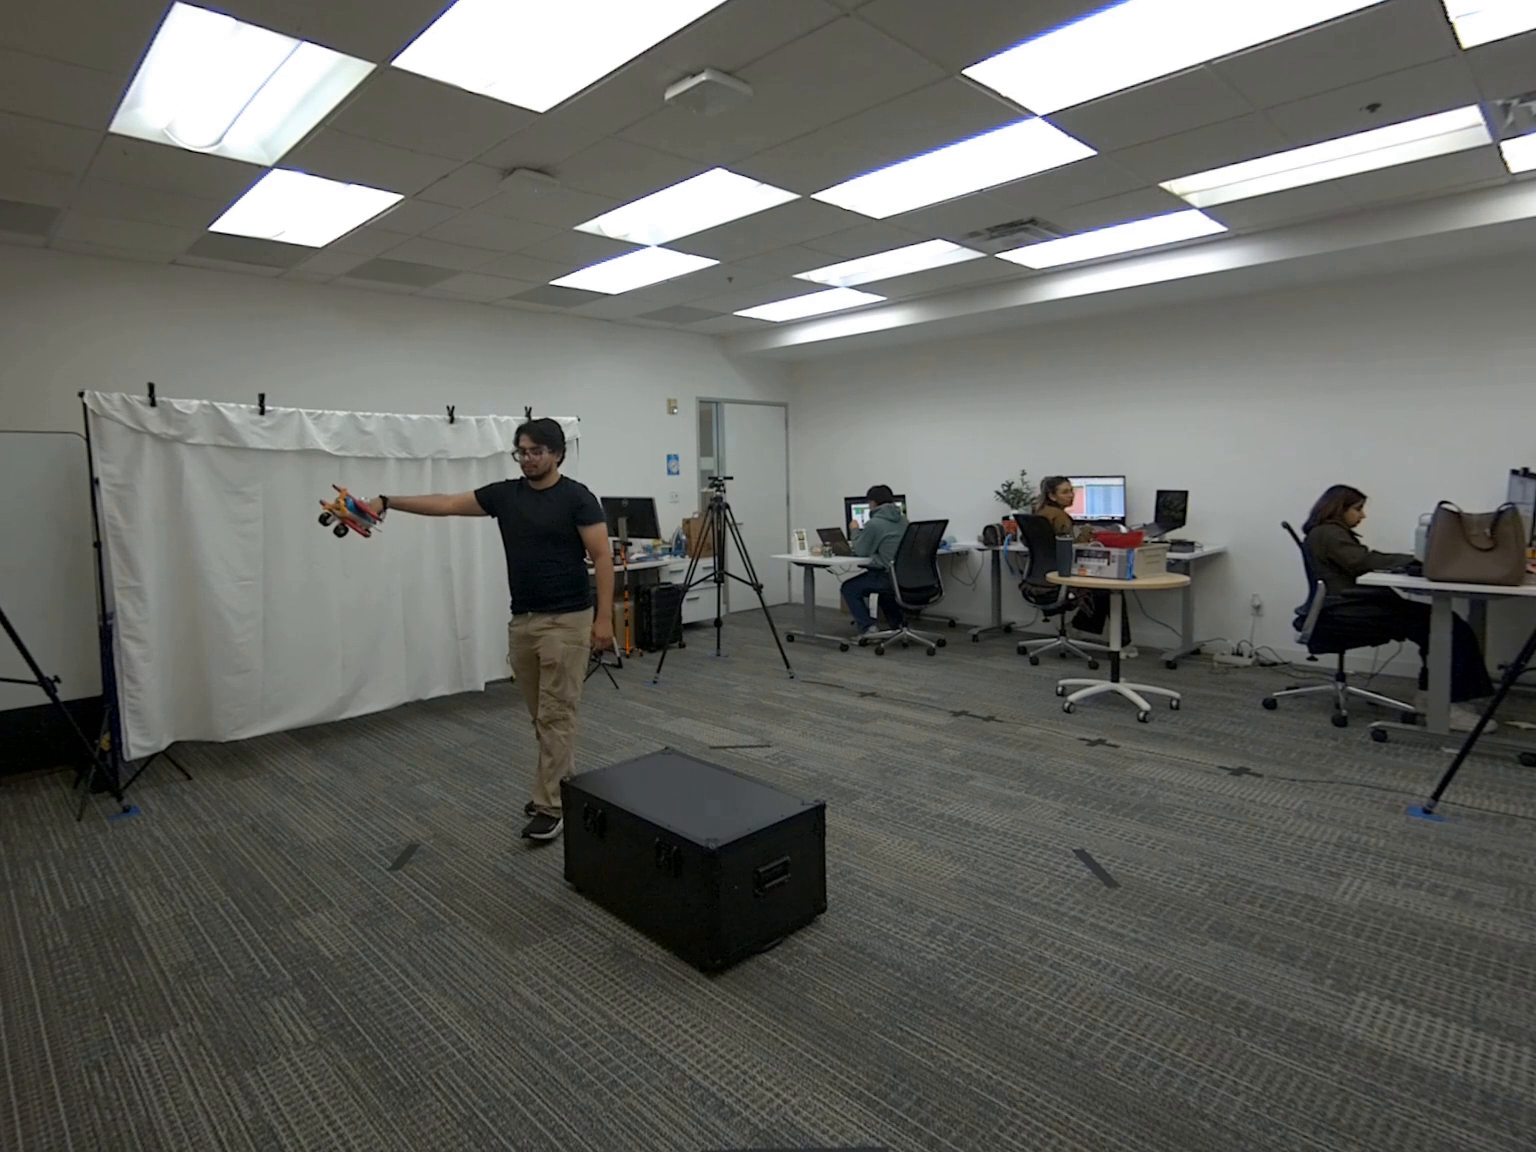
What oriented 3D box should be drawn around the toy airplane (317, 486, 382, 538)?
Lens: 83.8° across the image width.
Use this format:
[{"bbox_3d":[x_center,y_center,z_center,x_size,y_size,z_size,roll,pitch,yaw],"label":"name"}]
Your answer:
[{"bbox_3d":[-1.647,-0.245,3.367,0.247,0.156,0.263,31,7,-12],"label":"toy airplane"}]
